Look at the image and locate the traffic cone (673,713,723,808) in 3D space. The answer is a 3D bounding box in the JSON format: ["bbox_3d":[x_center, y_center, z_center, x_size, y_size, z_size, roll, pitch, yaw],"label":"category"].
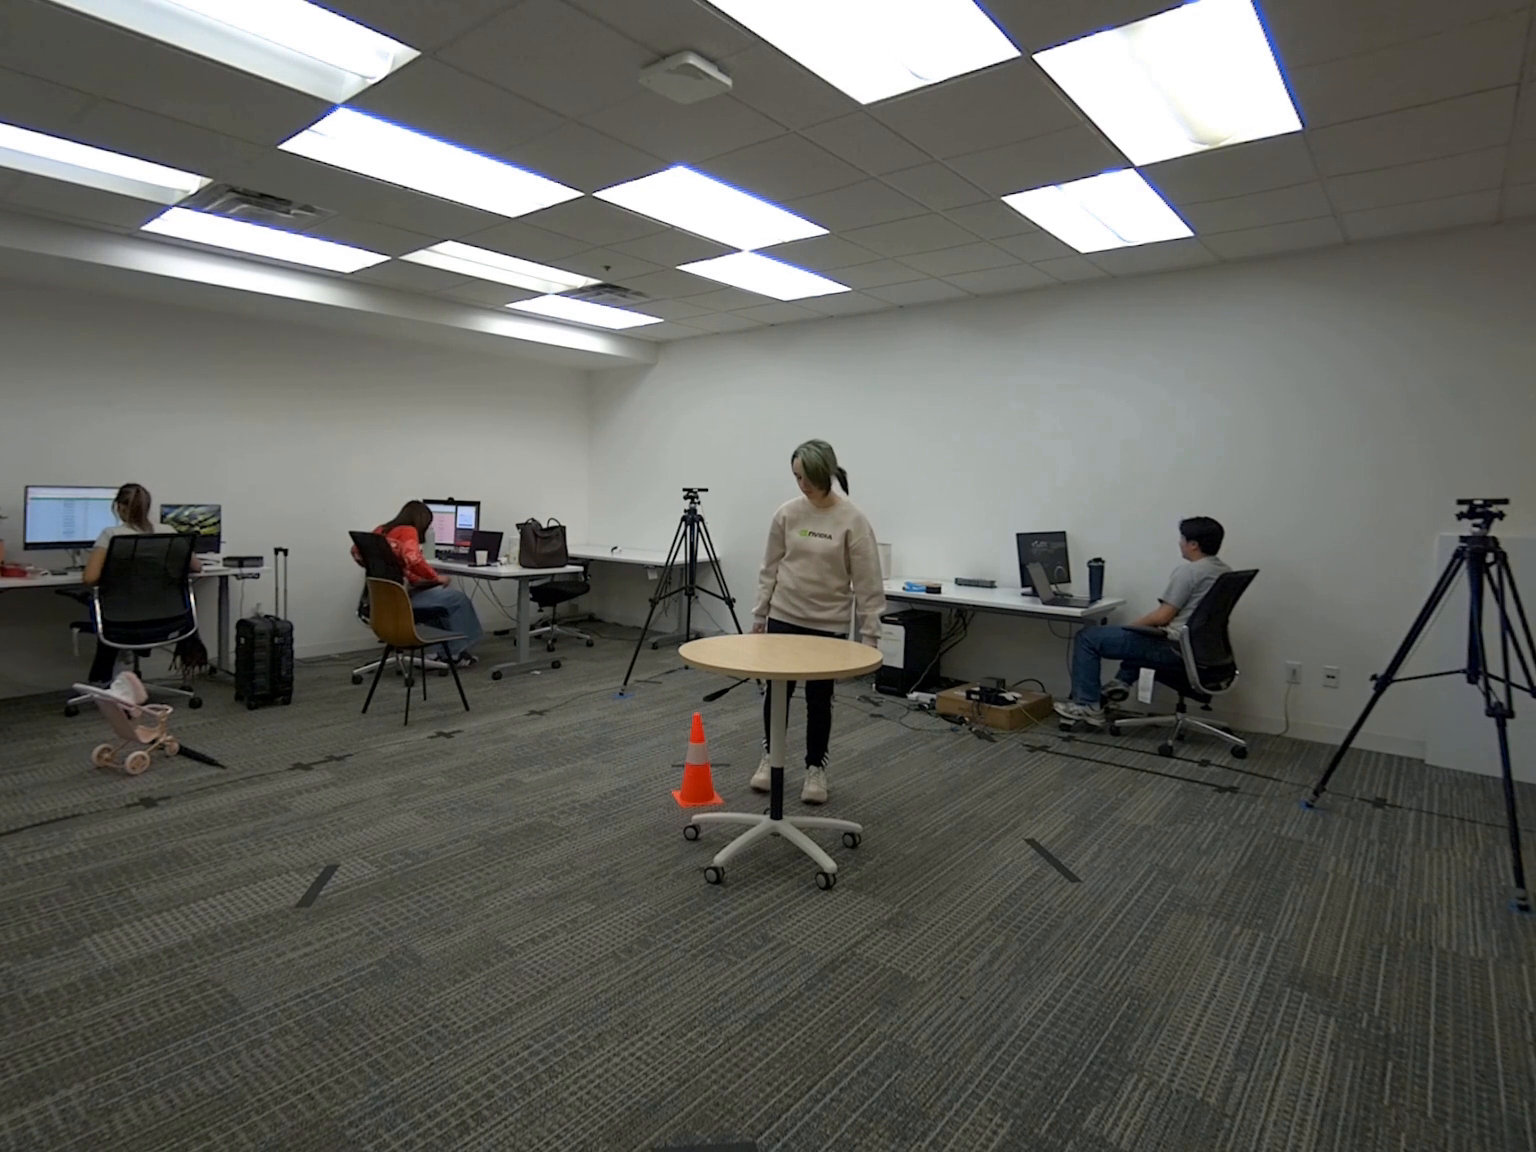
[{"bbox_3d":[-0.332,0.814,3.844,0.200,0.383,0.209,1,2,-18],"label":"traffic cone"}]
